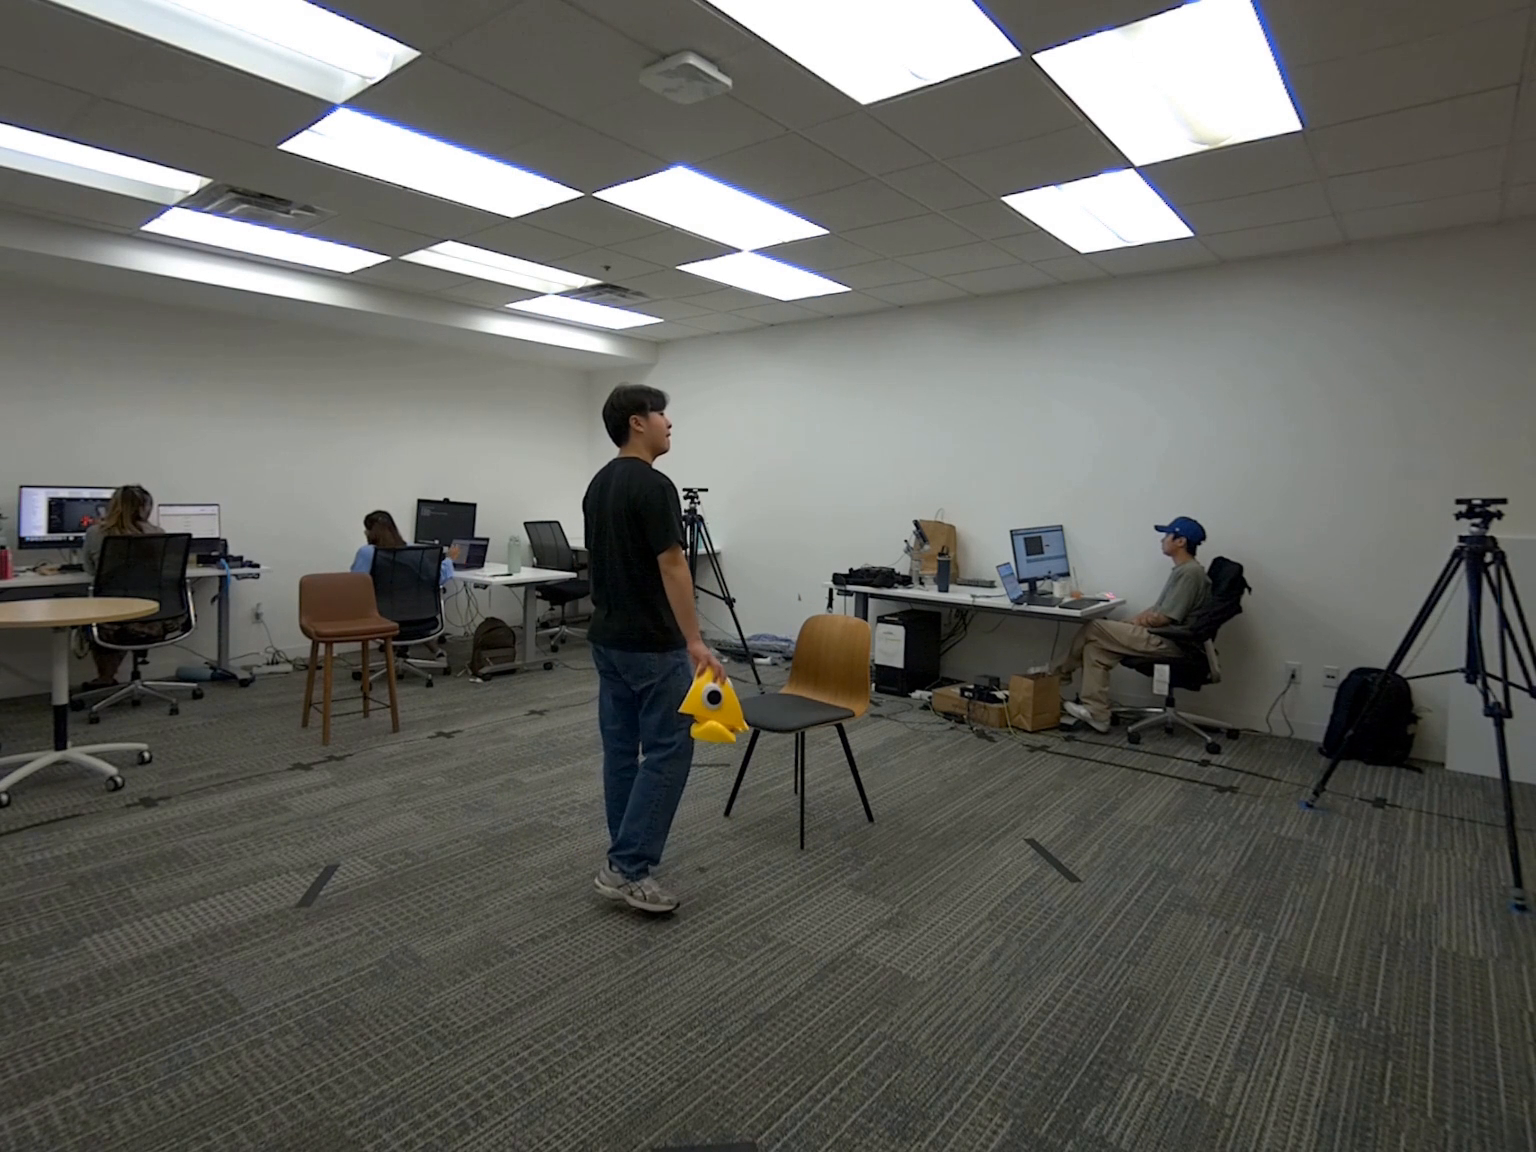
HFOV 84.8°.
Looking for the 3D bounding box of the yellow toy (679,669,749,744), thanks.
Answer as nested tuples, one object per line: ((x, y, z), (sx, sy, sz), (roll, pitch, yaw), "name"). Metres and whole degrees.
((-0.167, 0.383, 2.718), (0.197, 0.229, 0.201), (4, 6, 20), "yellow toy")
